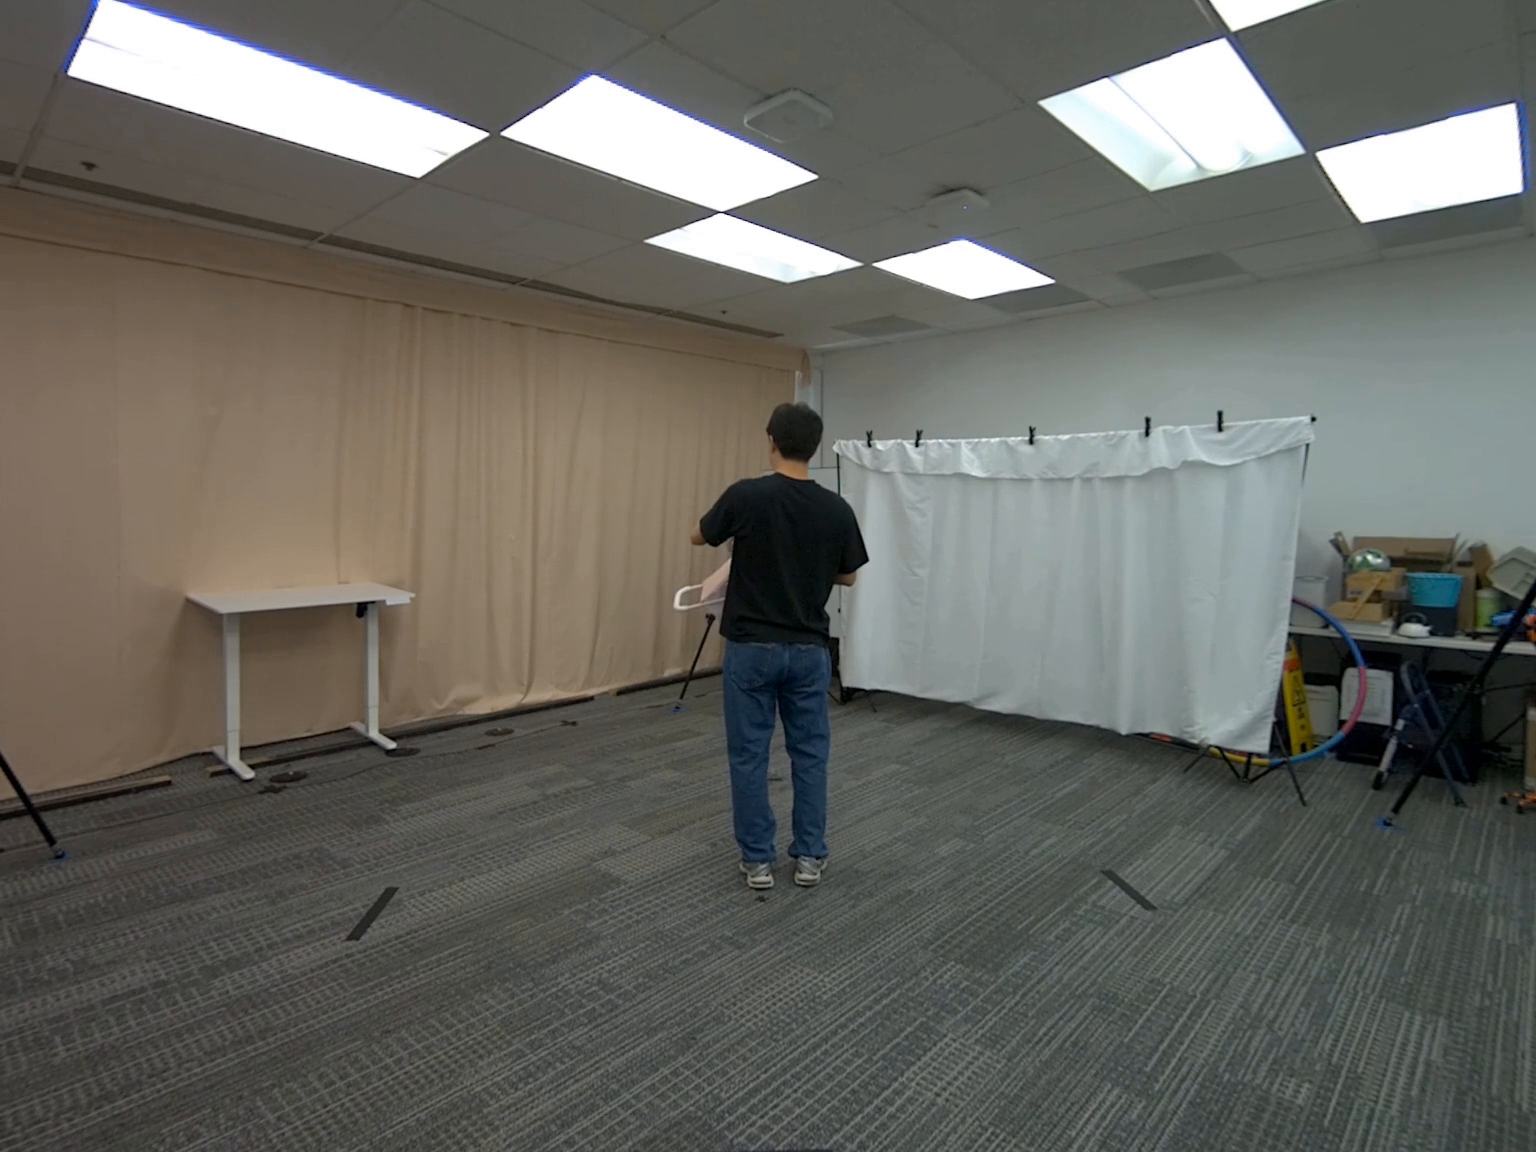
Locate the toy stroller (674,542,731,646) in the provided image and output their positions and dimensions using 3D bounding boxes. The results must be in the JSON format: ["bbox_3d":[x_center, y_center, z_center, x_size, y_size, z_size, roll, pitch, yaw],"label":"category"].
[{"bbox_3d":[-0.110,-0.011,3.577,0.335,0.536,0.286,31,20,-17],"label":"toy stroller"}]
